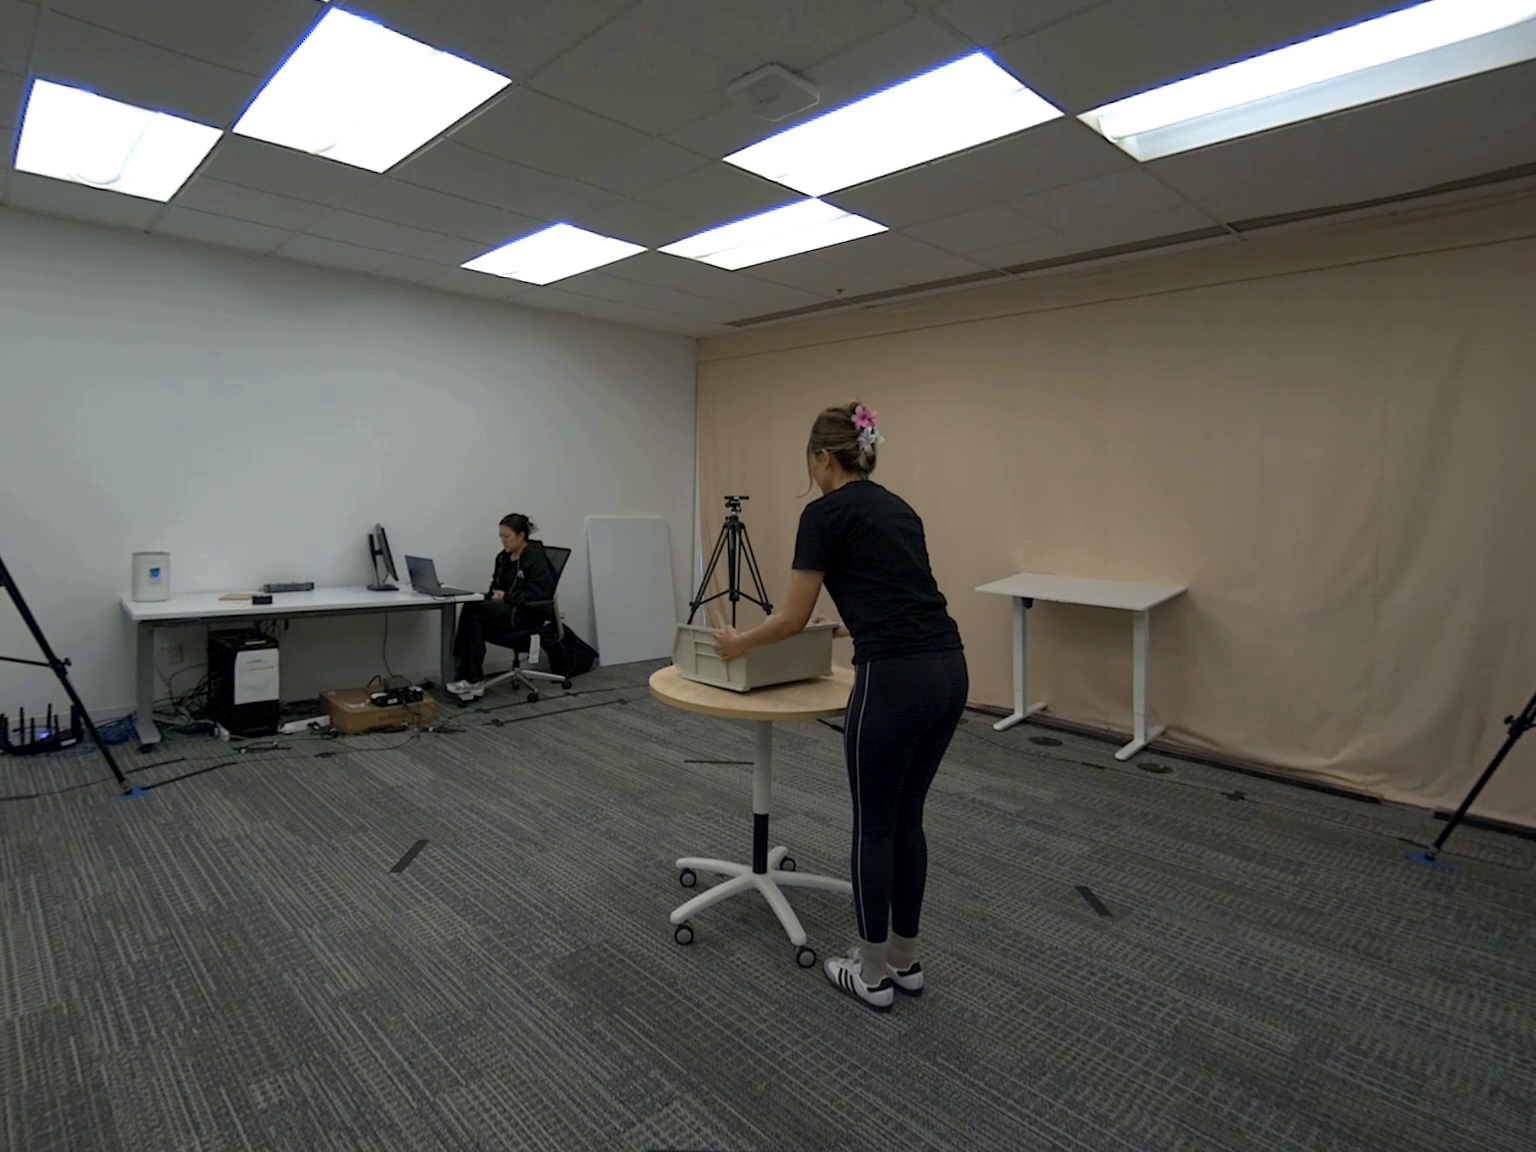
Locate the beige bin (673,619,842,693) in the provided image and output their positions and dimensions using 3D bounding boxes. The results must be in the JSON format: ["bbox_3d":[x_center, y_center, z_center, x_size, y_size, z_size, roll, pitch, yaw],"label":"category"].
[{"bbox_3d":[-0.056,0.248,2.826,0.413,0.188,0.387,-2,5,-42],"label":"beige bin"}]
